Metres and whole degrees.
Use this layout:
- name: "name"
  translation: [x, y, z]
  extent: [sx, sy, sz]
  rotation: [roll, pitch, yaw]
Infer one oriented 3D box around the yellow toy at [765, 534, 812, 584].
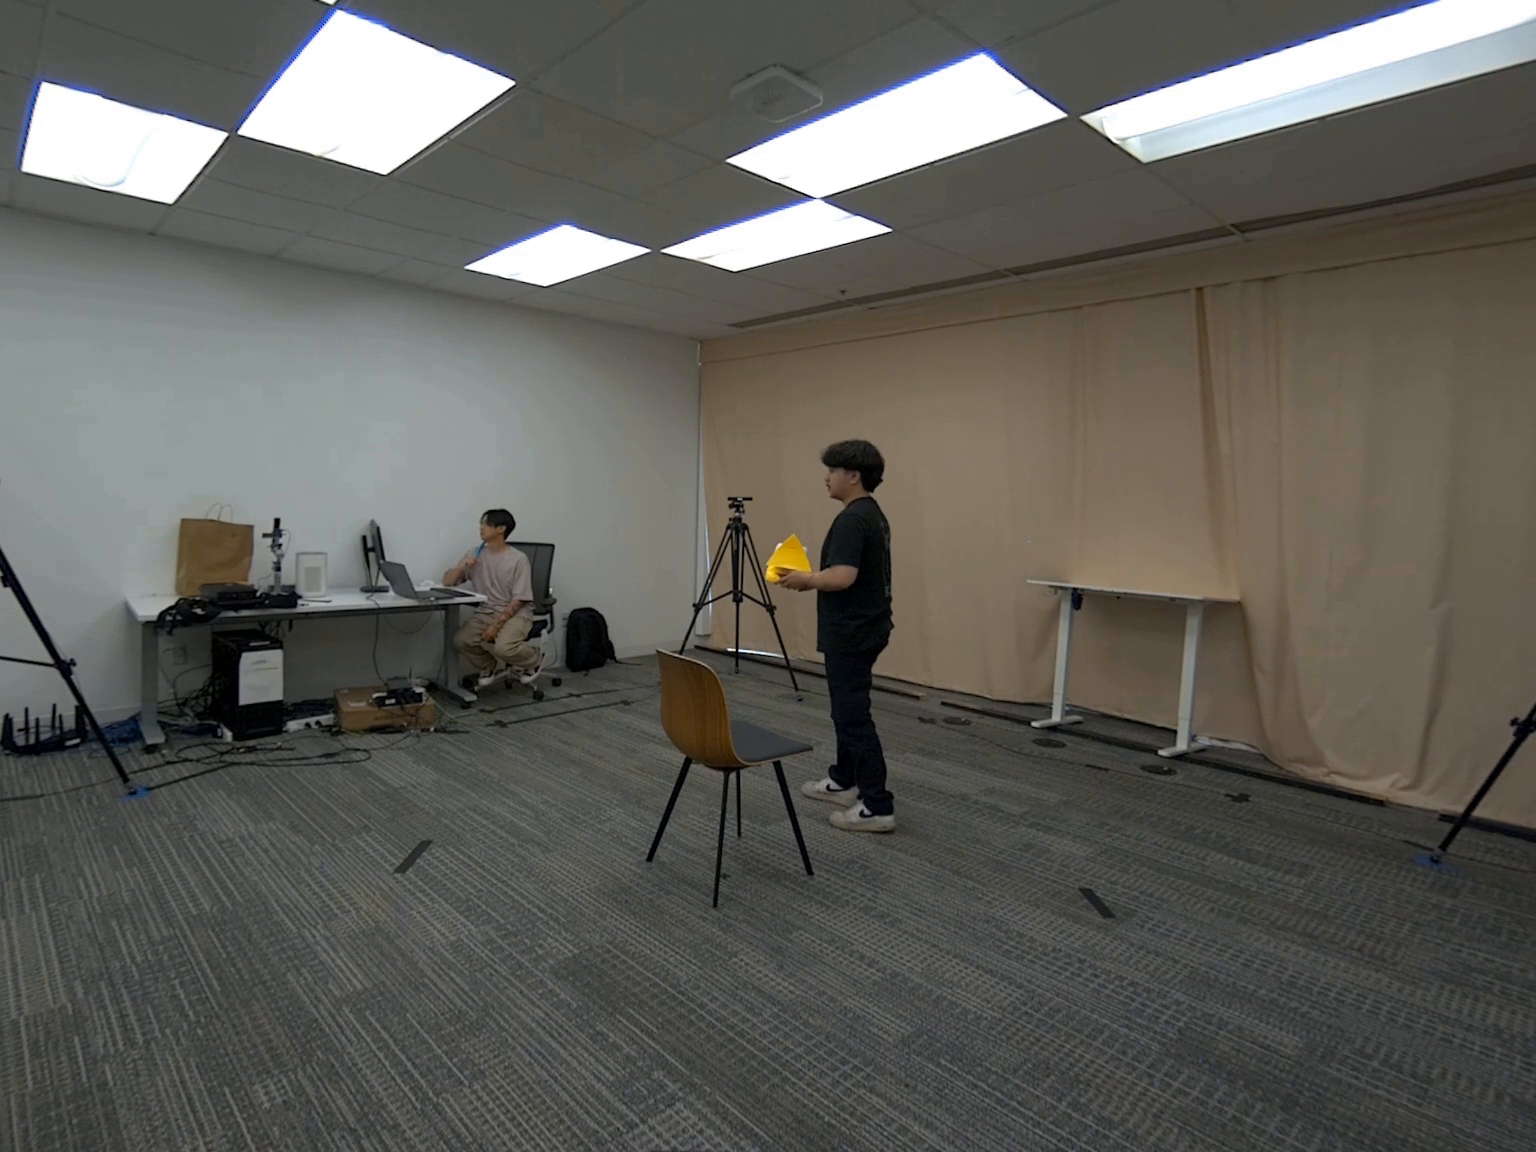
- name: "yellow toy"
  translation: [0.100, -0.088, 3.810]
  extent: [0.205, 0.229, 0.194]
  rotation: [8, 14, 3]
